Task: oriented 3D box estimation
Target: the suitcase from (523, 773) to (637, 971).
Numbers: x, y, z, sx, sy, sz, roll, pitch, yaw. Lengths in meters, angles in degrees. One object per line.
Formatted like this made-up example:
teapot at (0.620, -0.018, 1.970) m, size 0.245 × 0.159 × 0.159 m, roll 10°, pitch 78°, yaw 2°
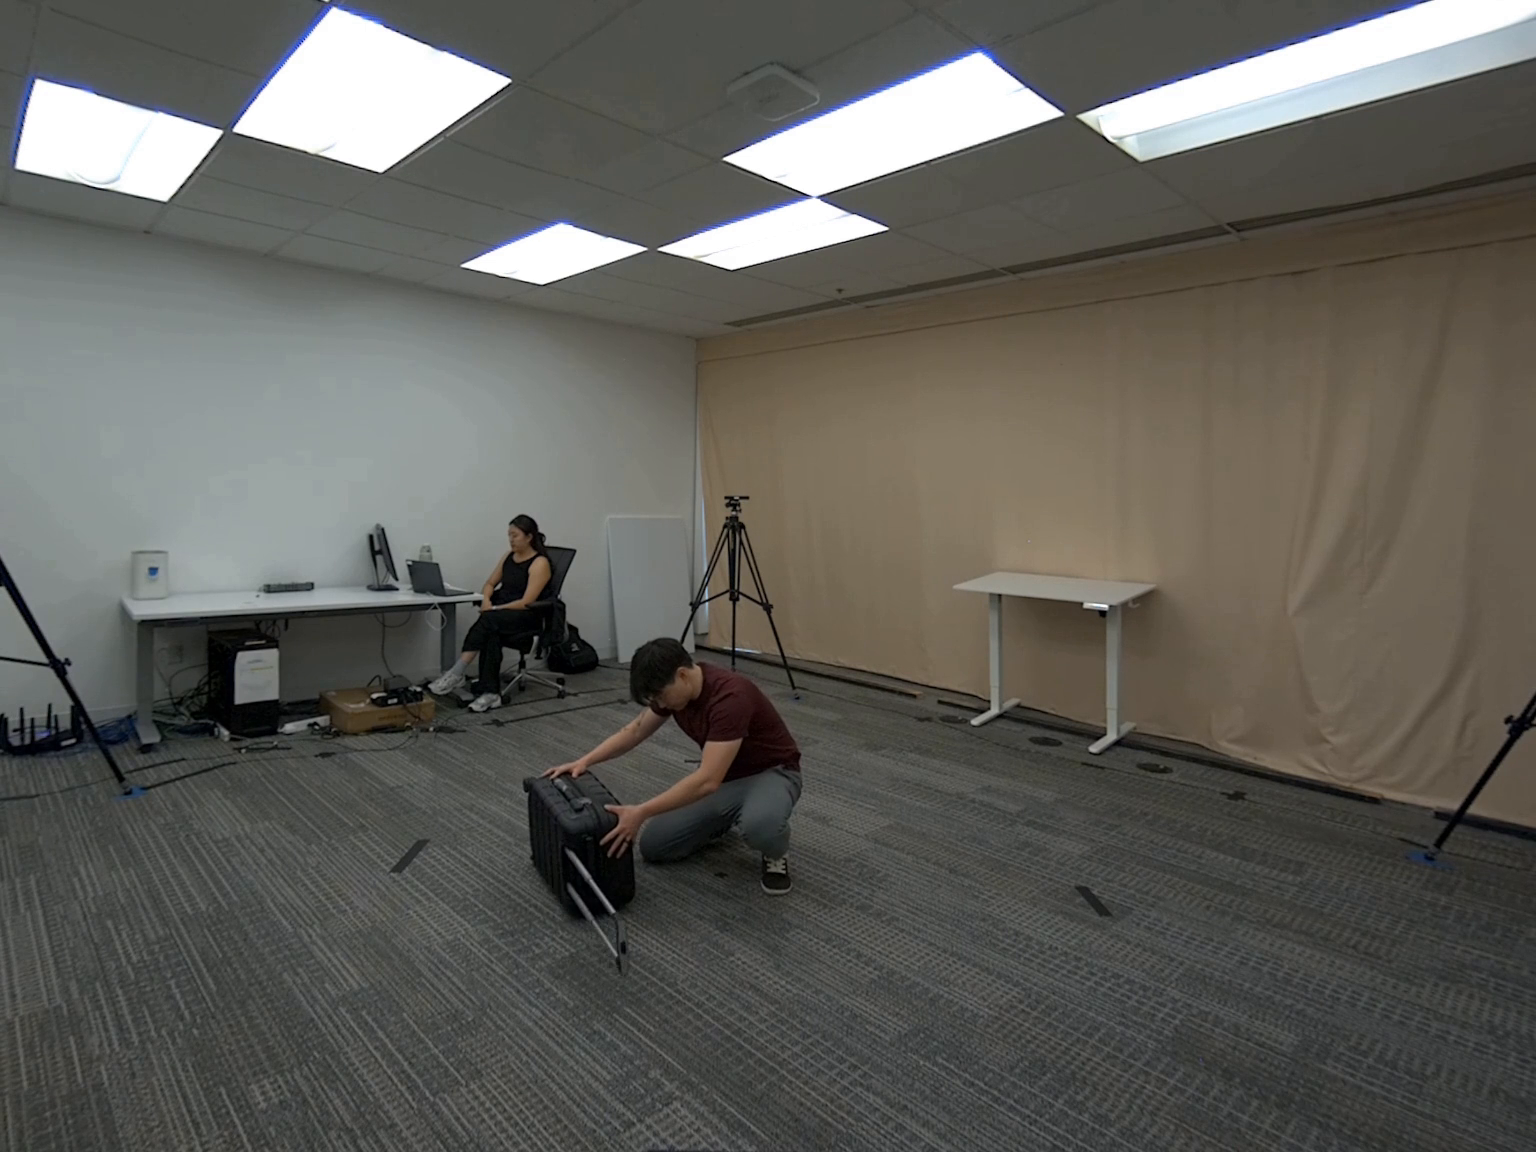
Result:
suitcase at (-0.555, 0.937, 2.777) m, size 0.252 × 0.382 × 1.002 m, roll -6°, pitch 8°, yaw -31°
